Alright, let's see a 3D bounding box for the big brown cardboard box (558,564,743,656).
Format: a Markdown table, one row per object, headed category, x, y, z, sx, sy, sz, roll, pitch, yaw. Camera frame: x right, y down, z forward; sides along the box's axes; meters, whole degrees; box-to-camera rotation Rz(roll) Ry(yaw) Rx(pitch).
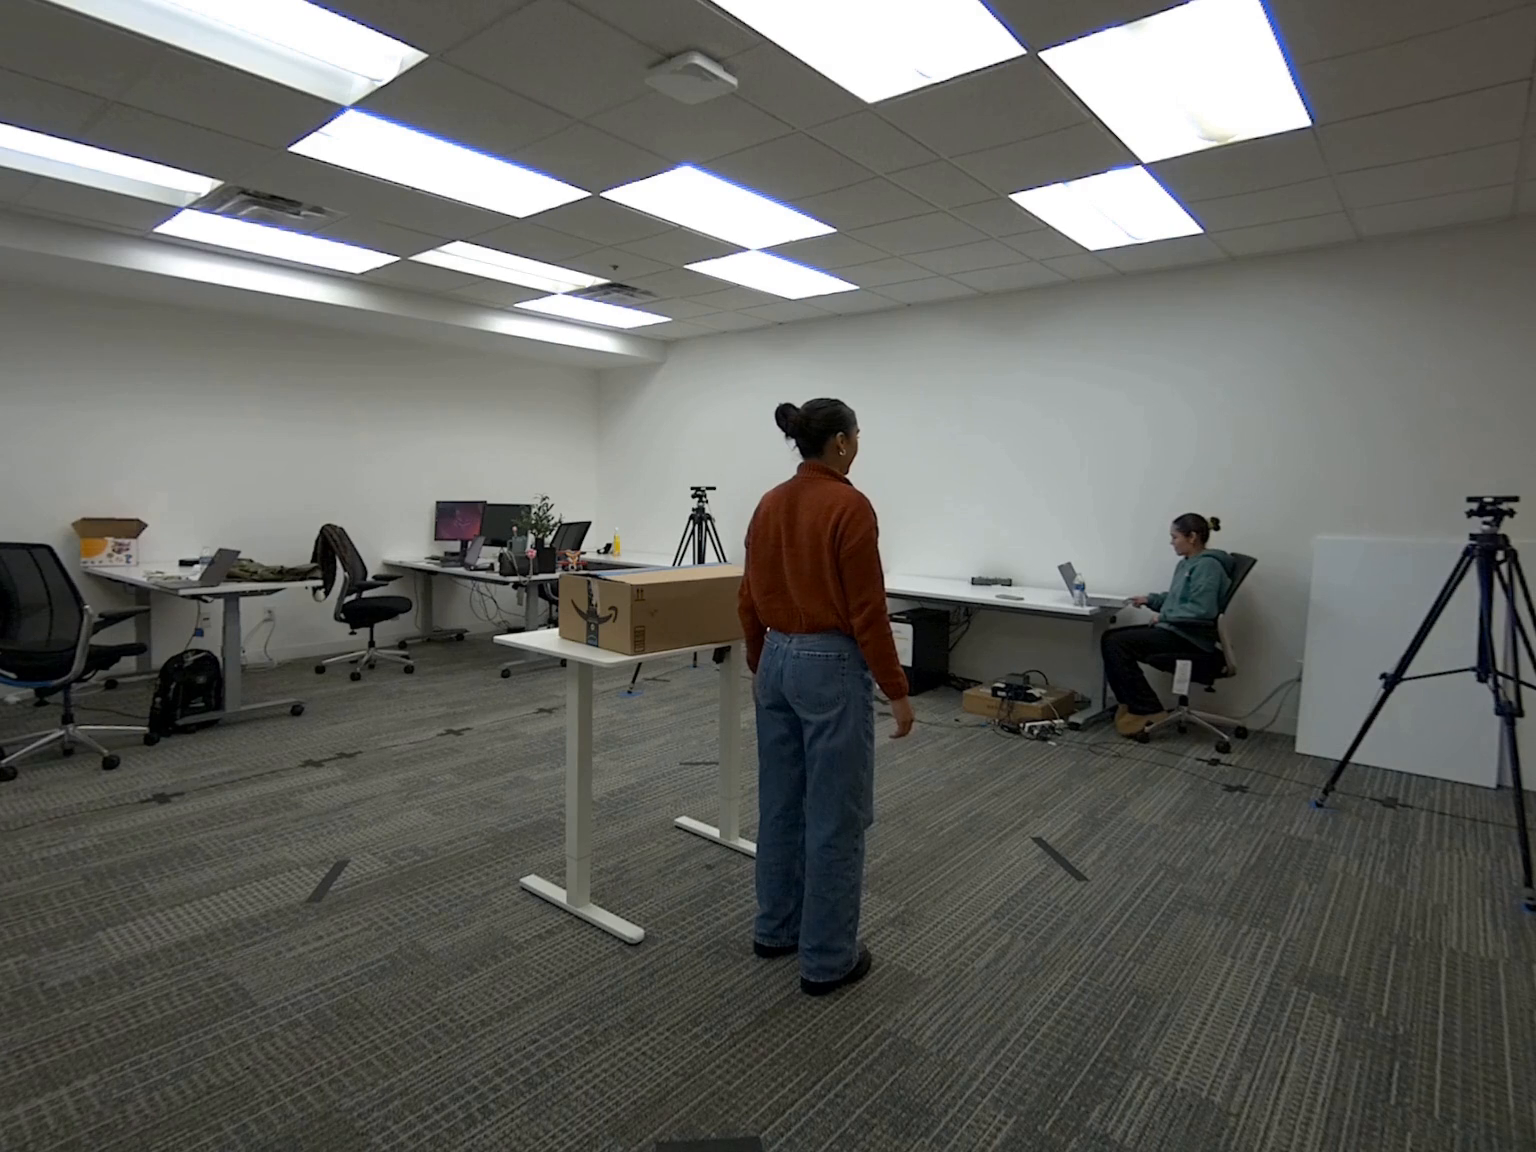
| category | x | y | z | sx | sy | sz | roll | pitch | yaw |
| --- | --- | --- | --- | --- | --- | --- | --- | --- | --- |
| big brown cardboard box | -0.360 | 0.096 | 2.869 | 0.572 | 0.232 | 0.432 | -6 | 8 | -44 |
